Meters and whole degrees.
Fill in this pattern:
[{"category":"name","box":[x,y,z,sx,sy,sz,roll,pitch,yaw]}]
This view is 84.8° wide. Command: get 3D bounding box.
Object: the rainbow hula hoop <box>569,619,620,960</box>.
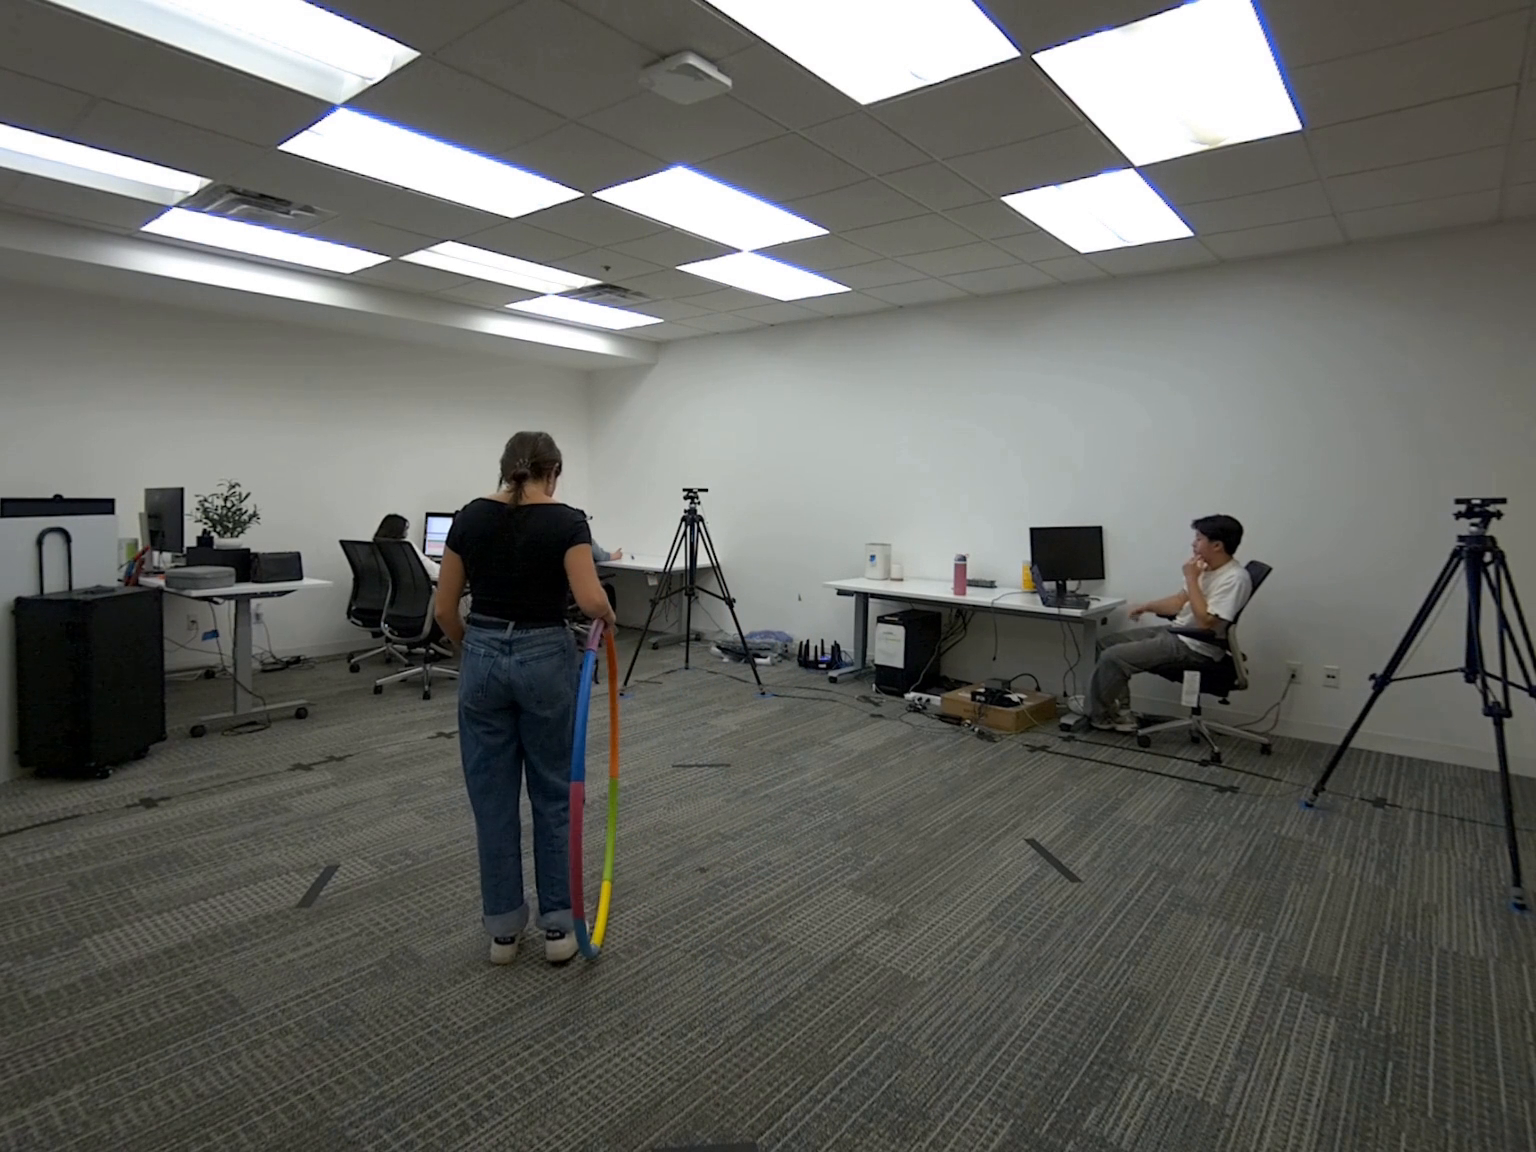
[{"category":"rainbow hula hoop","box":[-0.519,0.607,2.622,0.035,0.975,0.985,1,4,-5]}]
